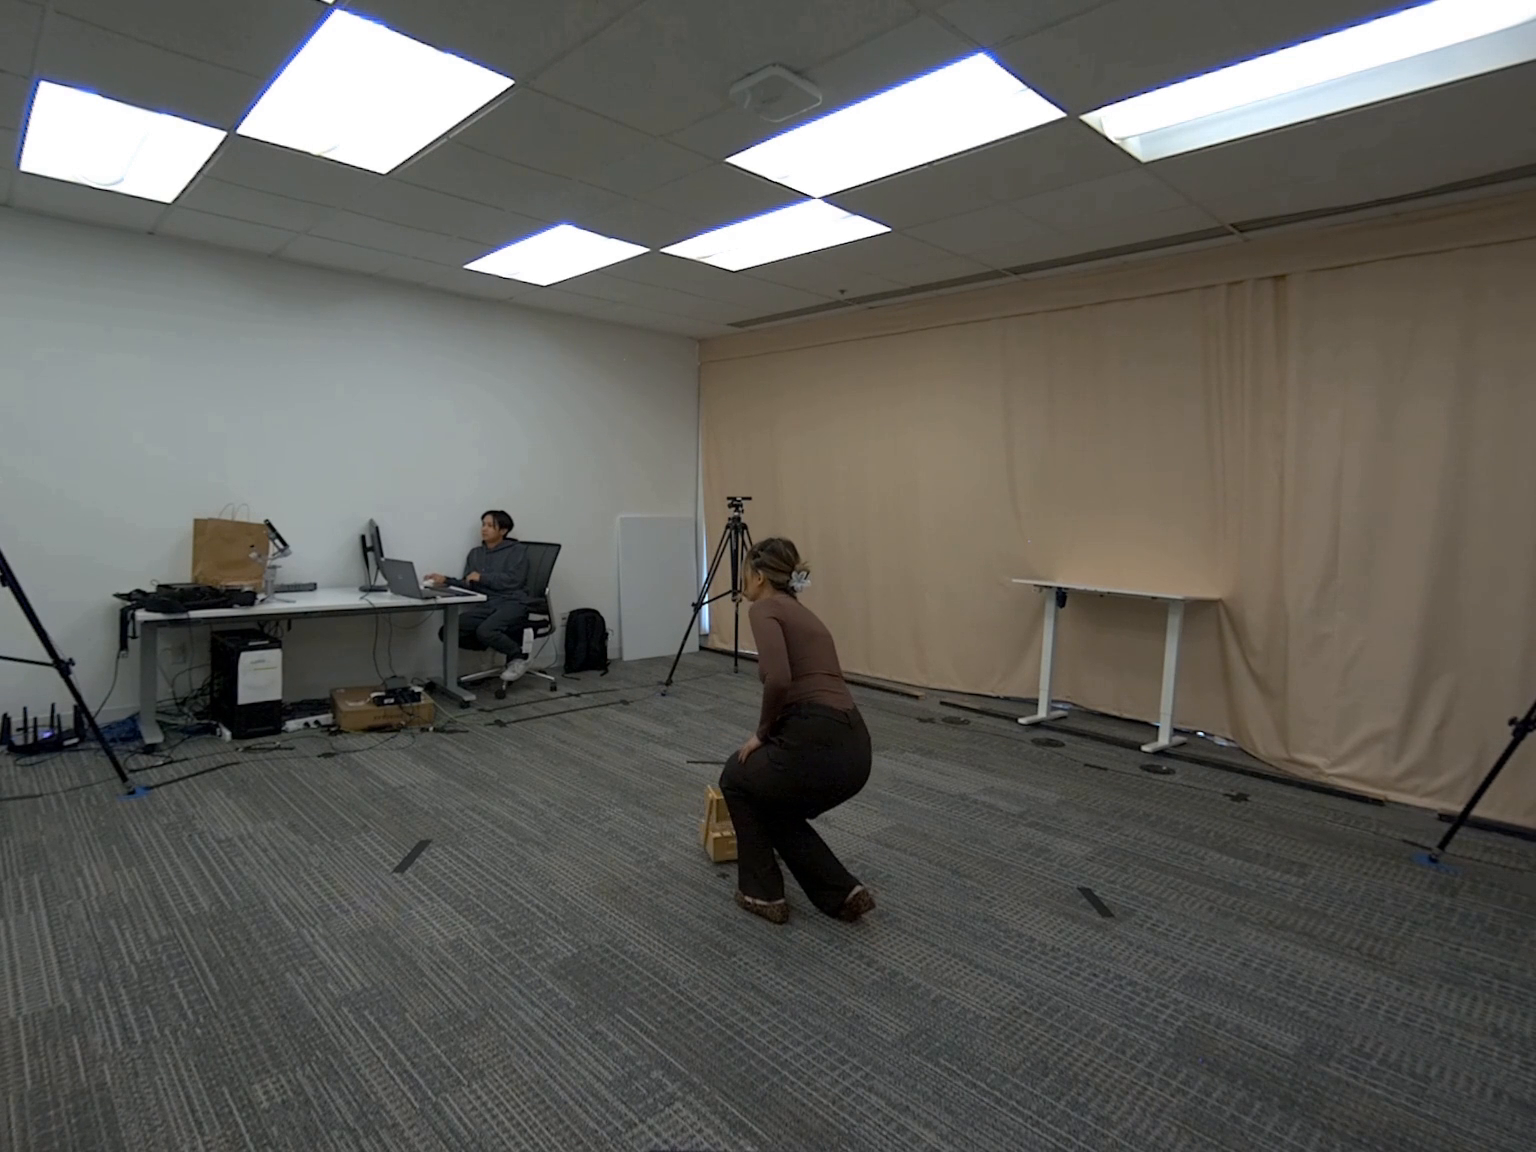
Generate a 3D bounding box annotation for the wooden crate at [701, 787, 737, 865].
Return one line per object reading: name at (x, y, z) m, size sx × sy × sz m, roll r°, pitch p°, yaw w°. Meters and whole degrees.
wooden crate at (-0.099, 0.926, 3.303) m, size 0.320 × 0.272 × 0.307 m, roll -1°, pitch 5°, yaw -16°
